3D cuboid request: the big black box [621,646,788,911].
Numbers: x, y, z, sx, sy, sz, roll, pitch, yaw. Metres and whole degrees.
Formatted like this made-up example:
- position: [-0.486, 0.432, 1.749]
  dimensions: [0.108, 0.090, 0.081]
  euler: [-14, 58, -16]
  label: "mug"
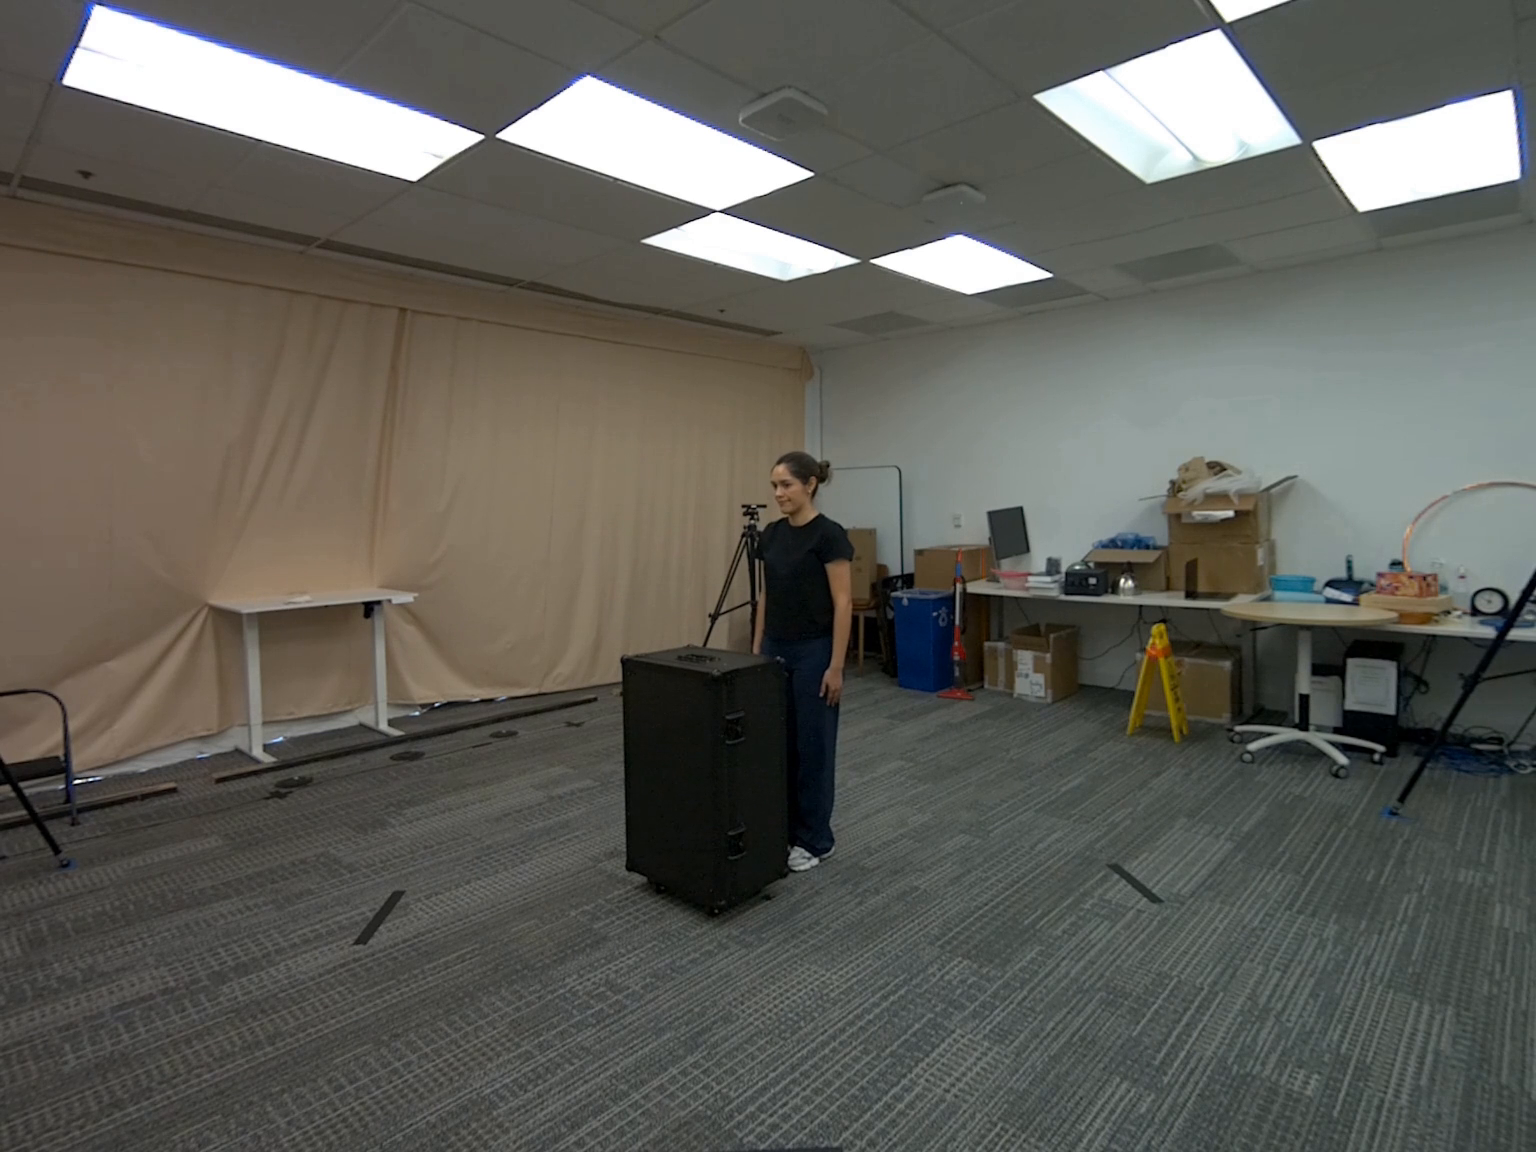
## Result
- position: [-0.212, 0.715, 3.032]
  dimensions: [0.538, 0.860, 0.384]
  euler: [1, 3, 41]
  label: "big black box"
